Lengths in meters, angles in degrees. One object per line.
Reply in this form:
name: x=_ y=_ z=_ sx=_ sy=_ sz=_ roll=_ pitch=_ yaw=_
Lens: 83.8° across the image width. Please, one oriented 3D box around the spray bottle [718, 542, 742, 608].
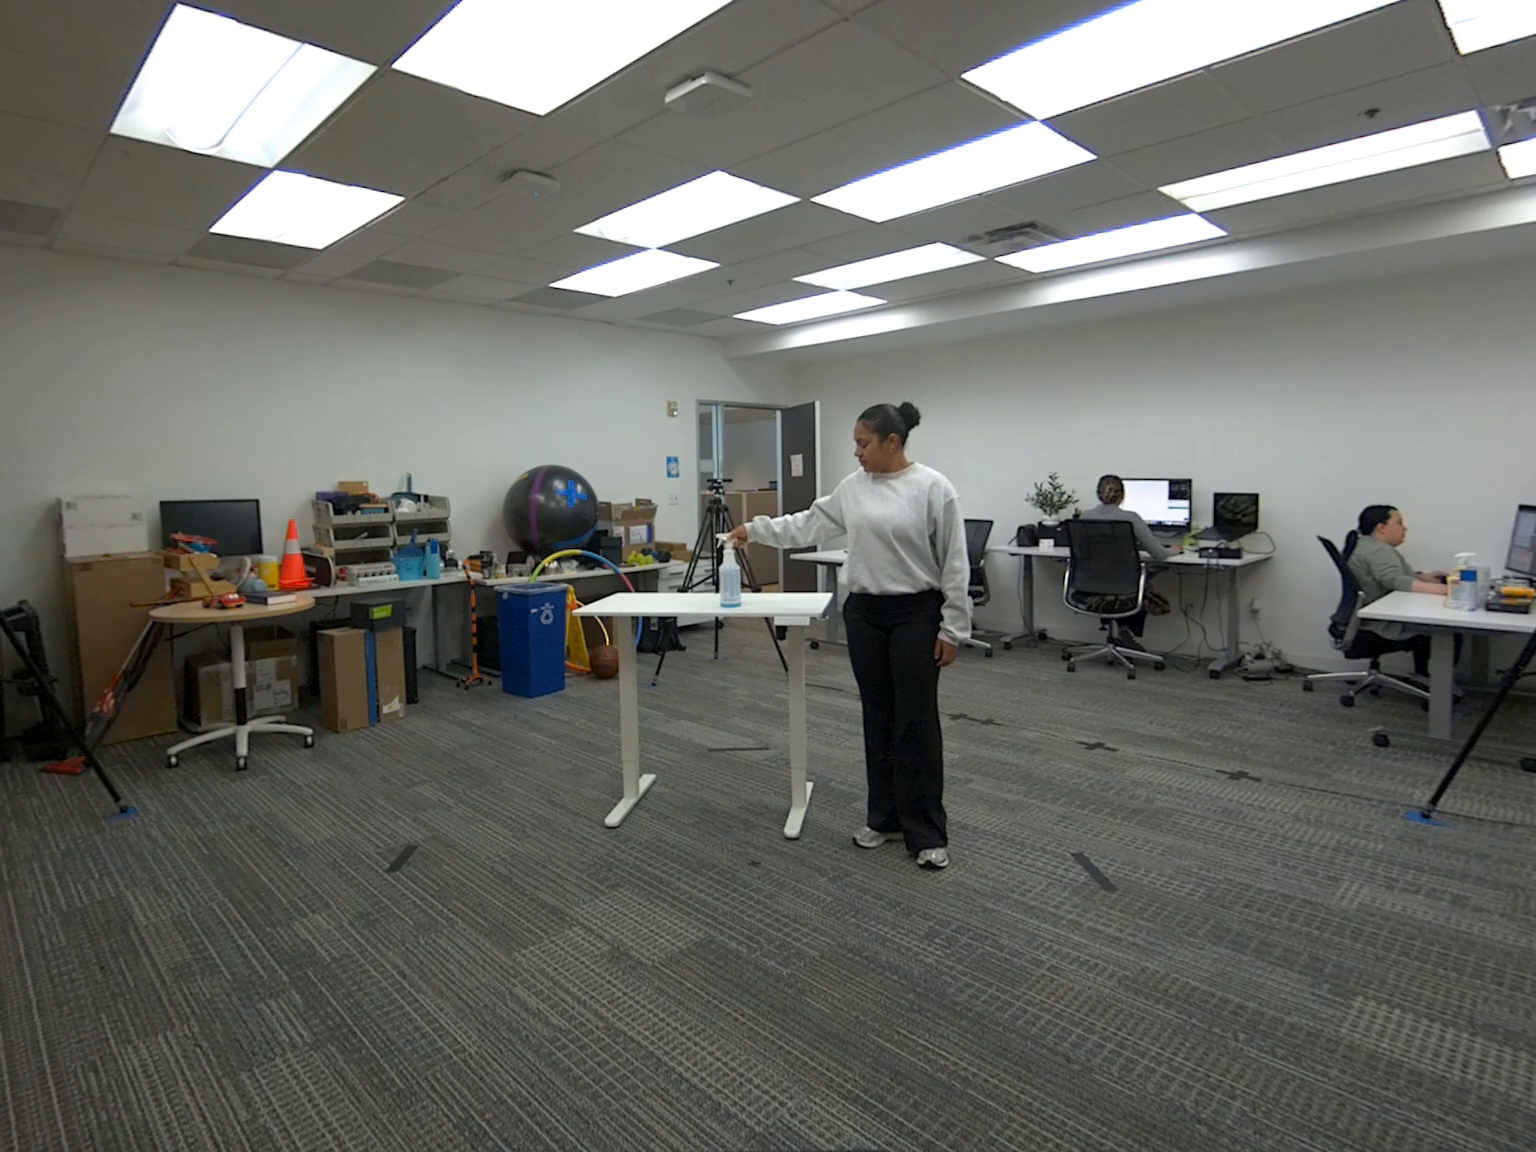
spray bottle: x=-0.153 y=-0.027 z=3.466 sx=0.091 sy=0.296 sz=0.087 roll=-1 pitch=5 yaw=6
